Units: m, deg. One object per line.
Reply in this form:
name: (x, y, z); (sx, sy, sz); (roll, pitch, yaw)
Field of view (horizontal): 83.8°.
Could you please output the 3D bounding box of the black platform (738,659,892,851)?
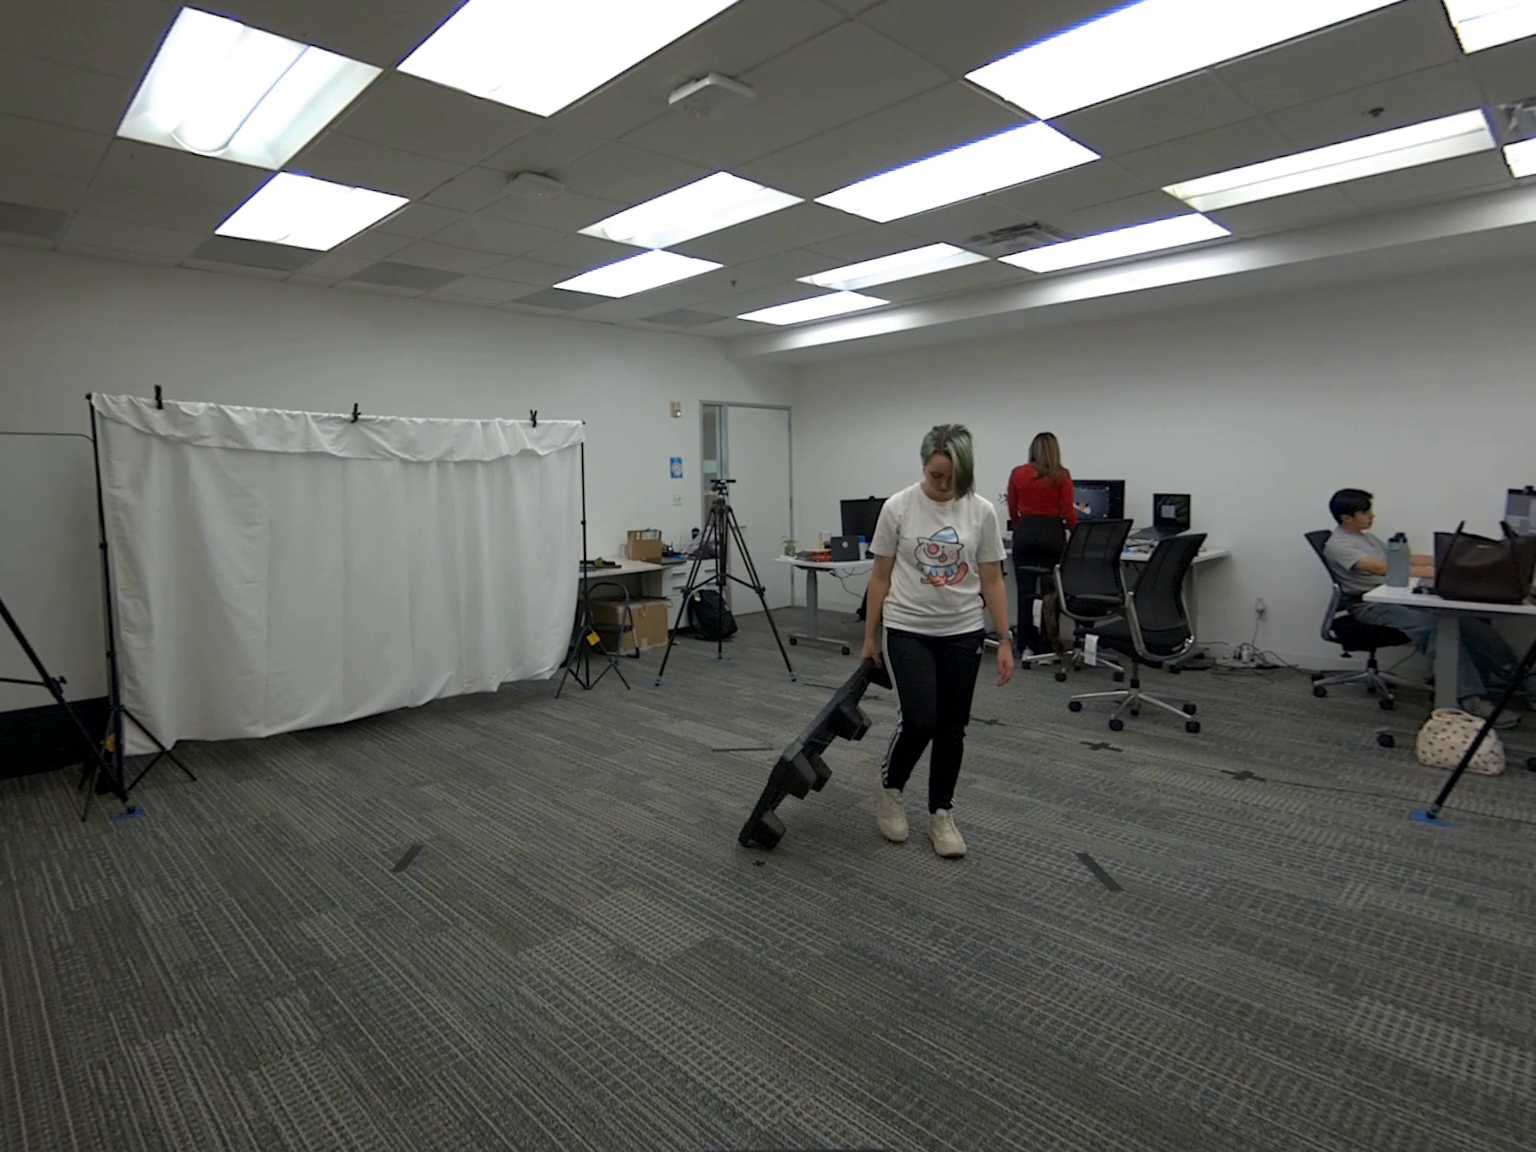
black platform: (0.227, 0.667, 3.330); (0.146, 0.595, 0.801); (34, 43, 15)
